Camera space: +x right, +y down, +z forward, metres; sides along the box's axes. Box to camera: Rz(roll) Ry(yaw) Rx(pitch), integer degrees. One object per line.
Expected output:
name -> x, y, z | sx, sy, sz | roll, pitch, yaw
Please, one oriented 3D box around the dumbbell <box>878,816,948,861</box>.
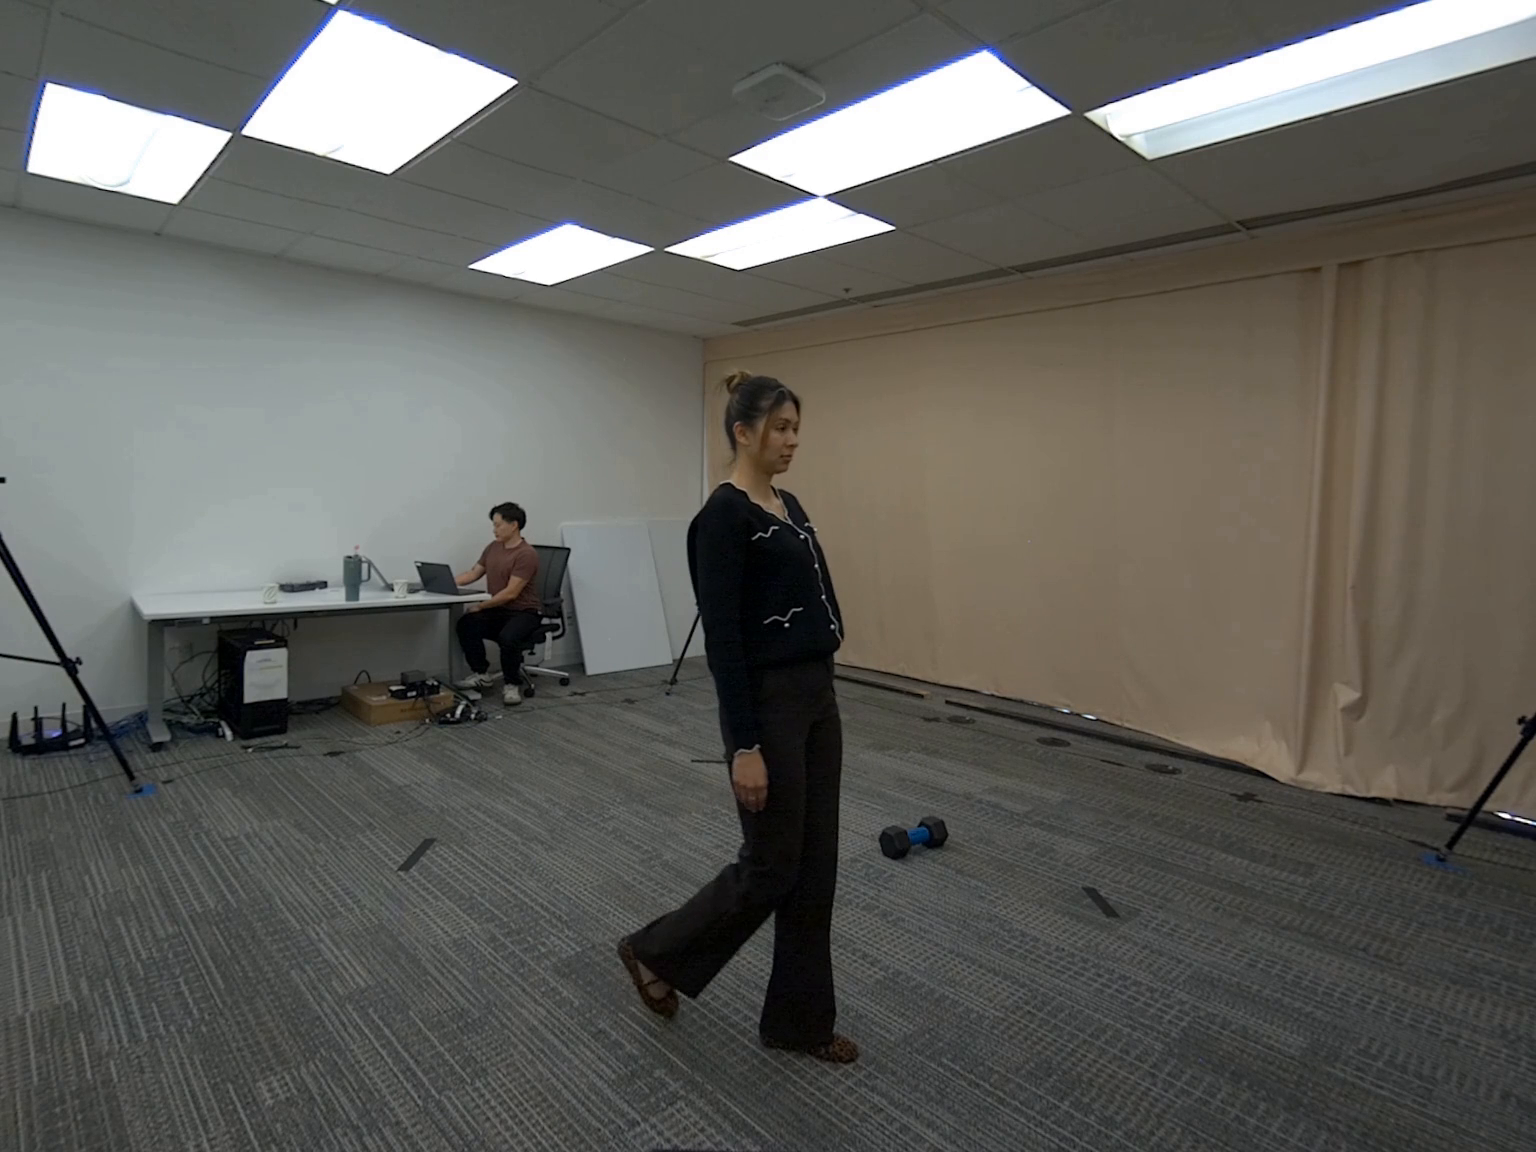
dumbbell -> 0.574, 1.042, 3.361 | 0.287, 0.121, 0.112 | -2, 36, -35
